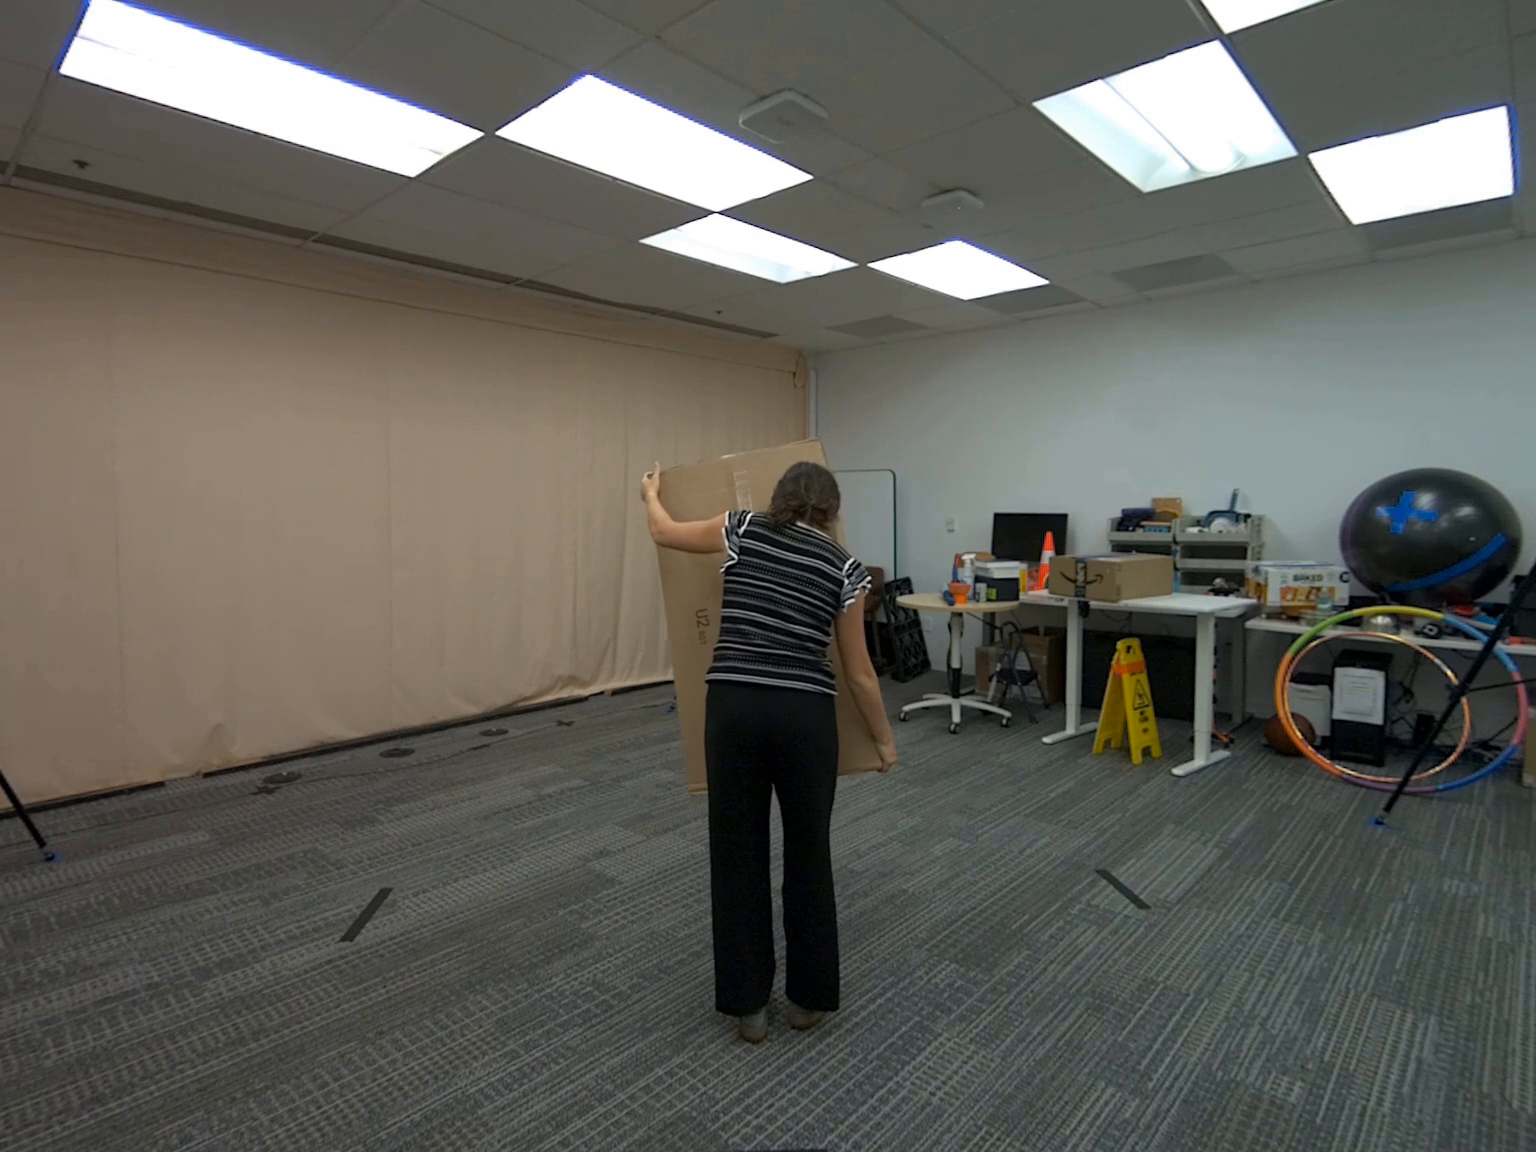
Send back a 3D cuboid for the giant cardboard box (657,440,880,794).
[{"bbox_3d":[0.003,0.148,2.757,0.583,1.038,0.417,-12,-15,10],"label":"giant cardboard box"}]
